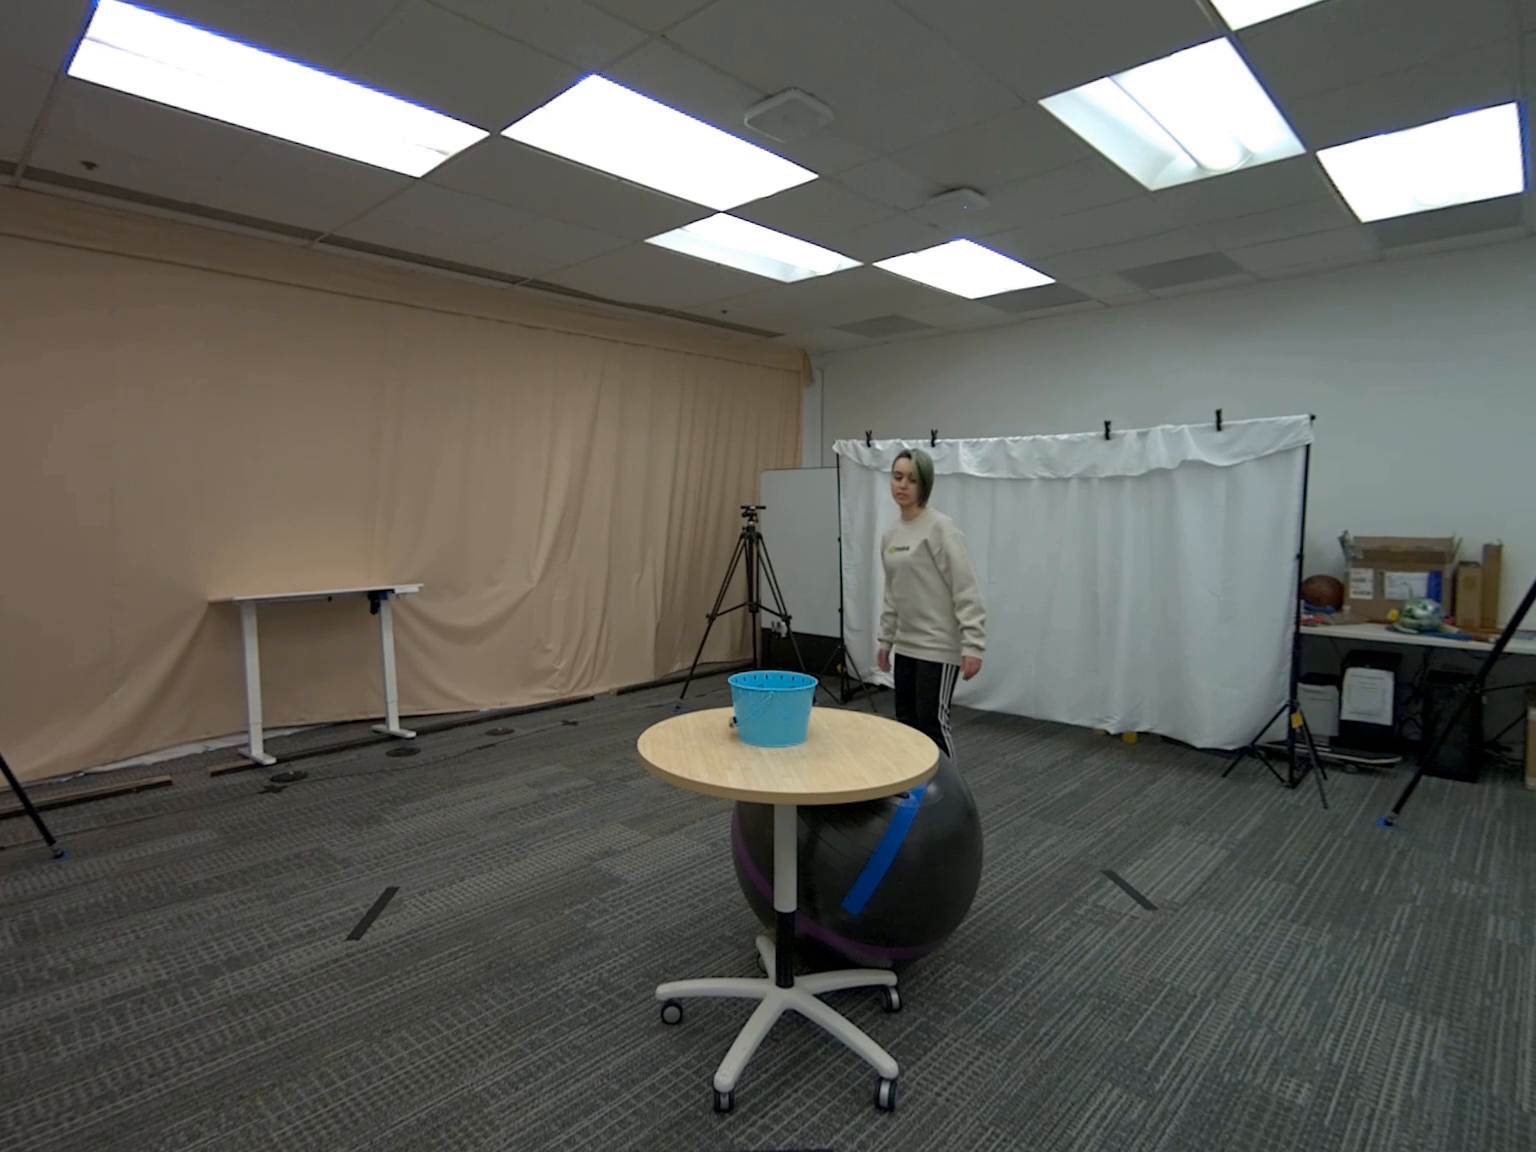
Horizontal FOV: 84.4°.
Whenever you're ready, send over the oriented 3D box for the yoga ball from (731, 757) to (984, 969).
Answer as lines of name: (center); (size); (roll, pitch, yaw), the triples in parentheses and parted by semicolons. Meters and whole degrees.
yoga ball: (0.280, 0.809, 2.591); (0.757, 0.756, 0.760); (0, 4, -2)
